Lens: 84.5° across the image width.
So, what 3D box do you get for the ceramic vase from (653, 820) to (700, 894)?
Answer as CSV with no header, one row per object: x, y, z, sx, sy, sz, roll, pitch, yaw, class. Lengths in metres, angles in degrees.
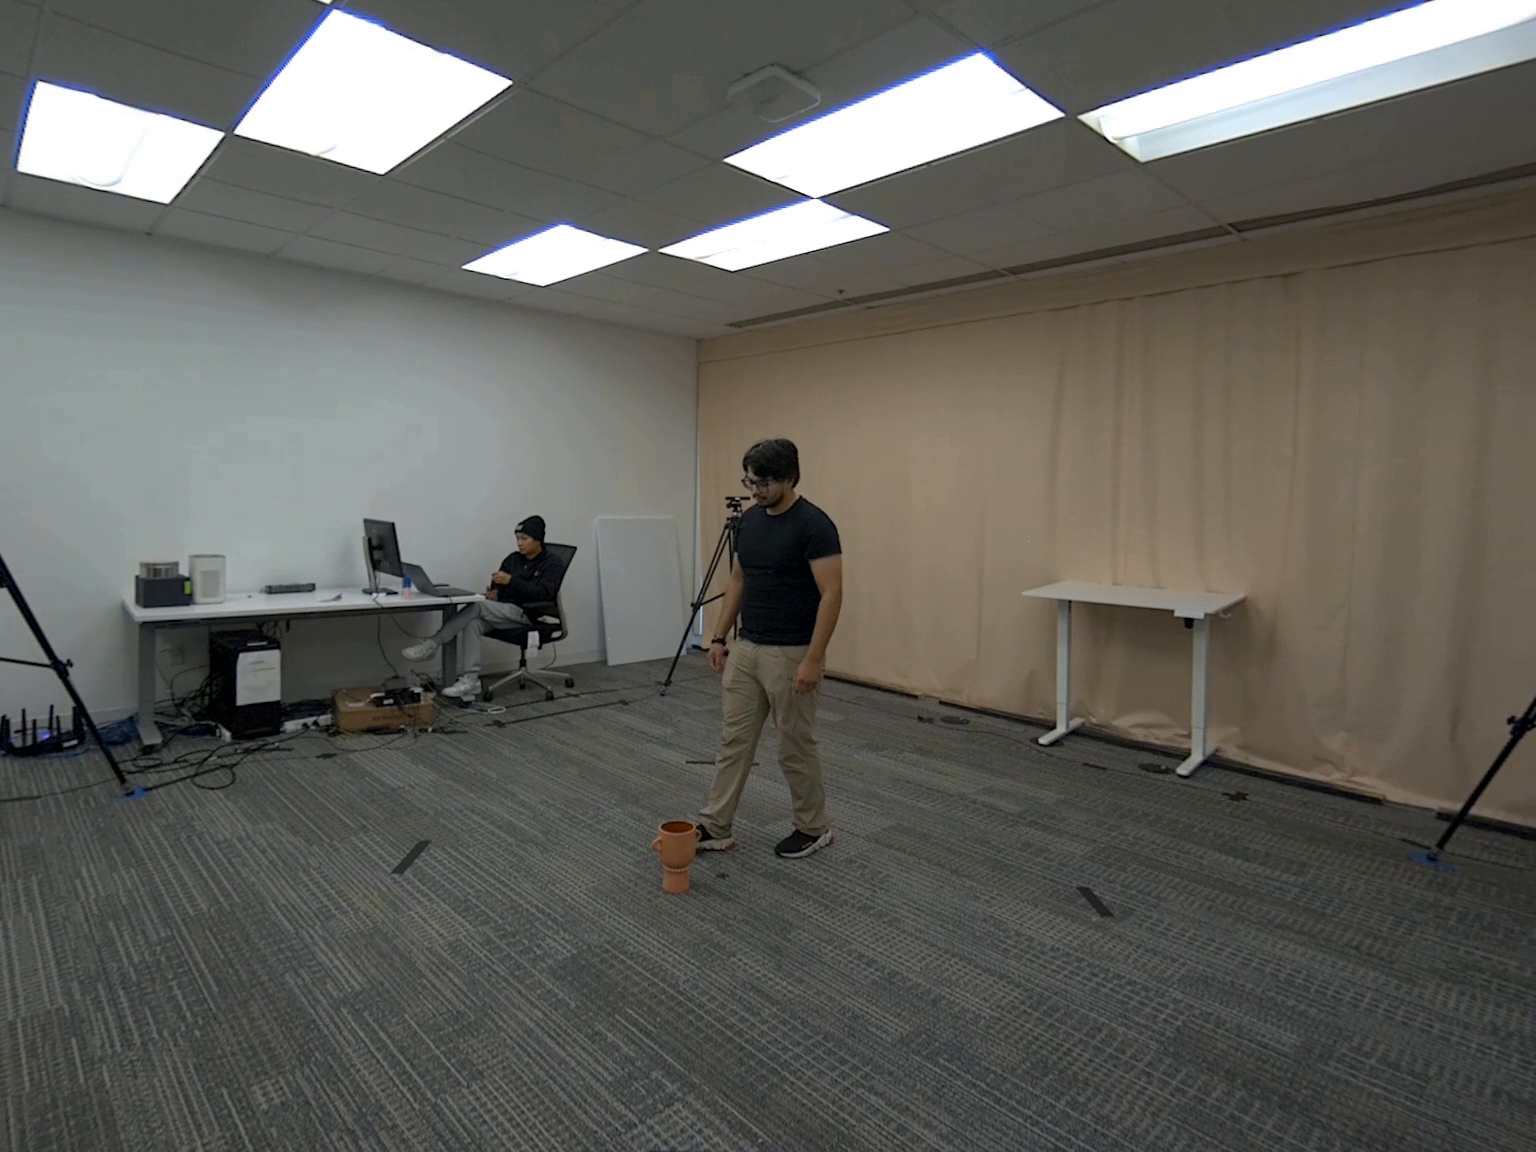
-0.336,0.999,2.996,0.159,0.219,0.134,1,5,5,ceramic vase
